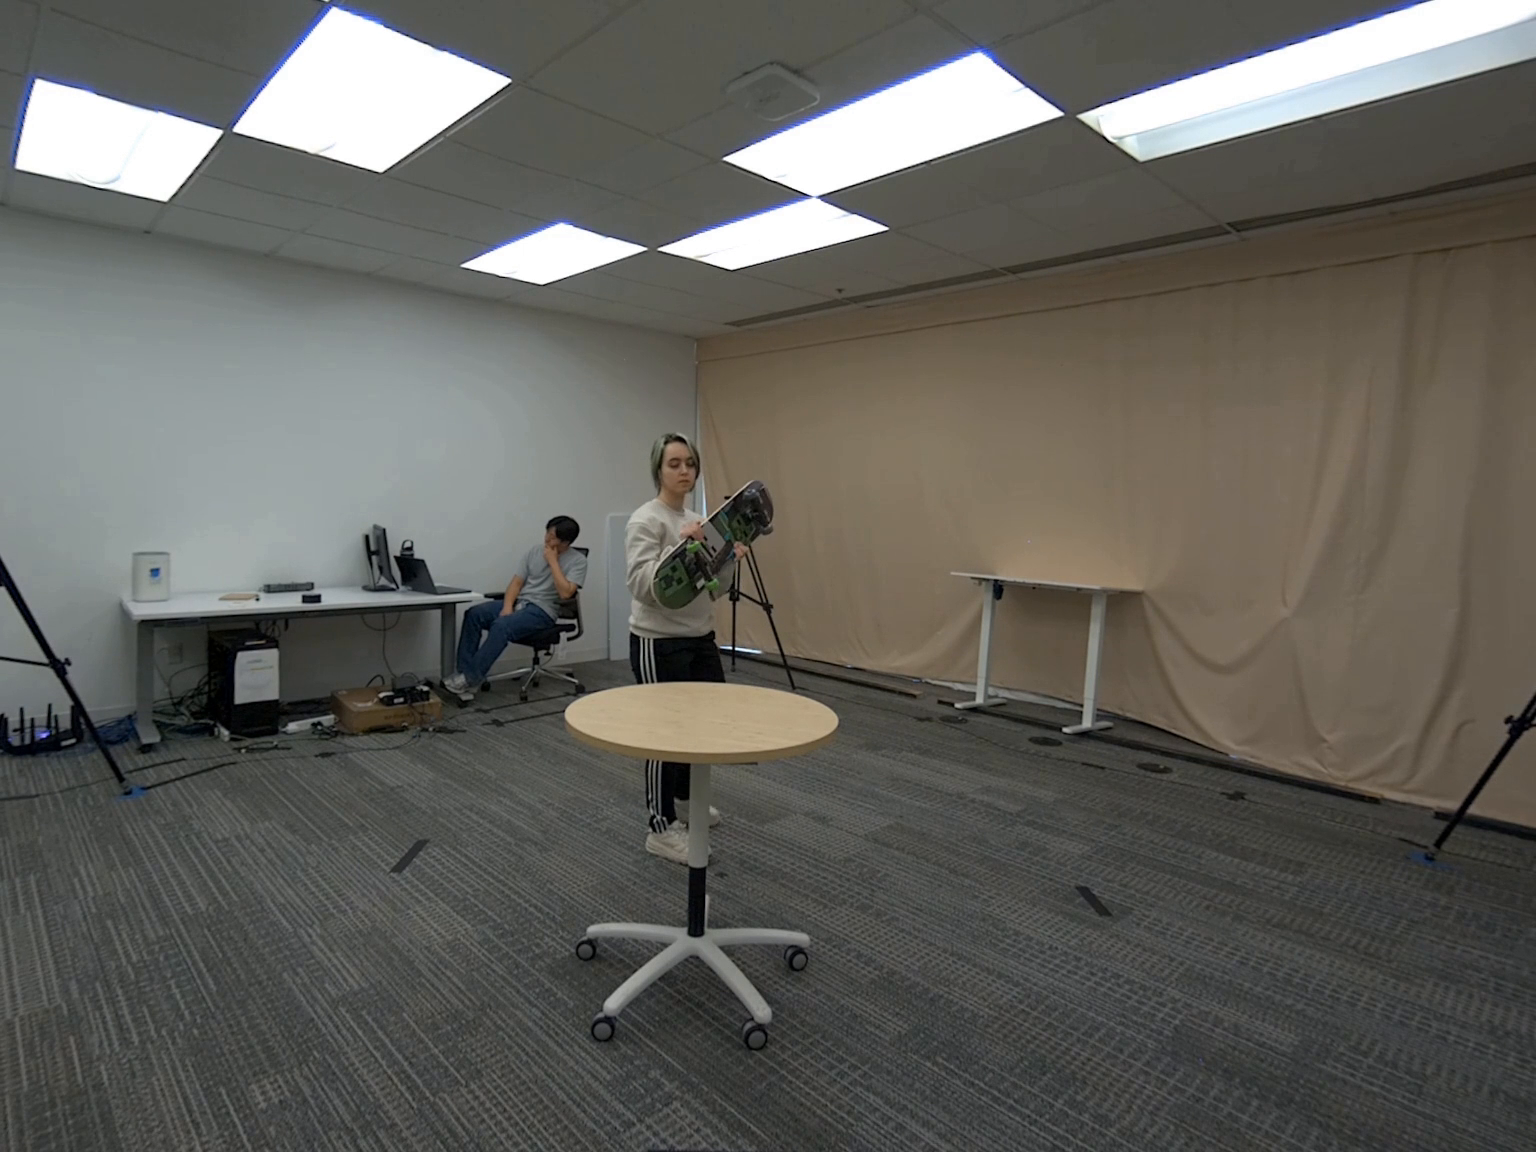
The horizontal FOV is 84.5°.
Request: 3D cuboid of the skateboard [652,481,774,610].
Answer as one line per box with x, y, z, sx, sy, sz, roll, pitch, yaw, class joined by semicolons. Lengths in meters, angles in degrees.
-0.164;-0.141;3.123;0.112;0.190;0.784;-6;27;38;skateboard
